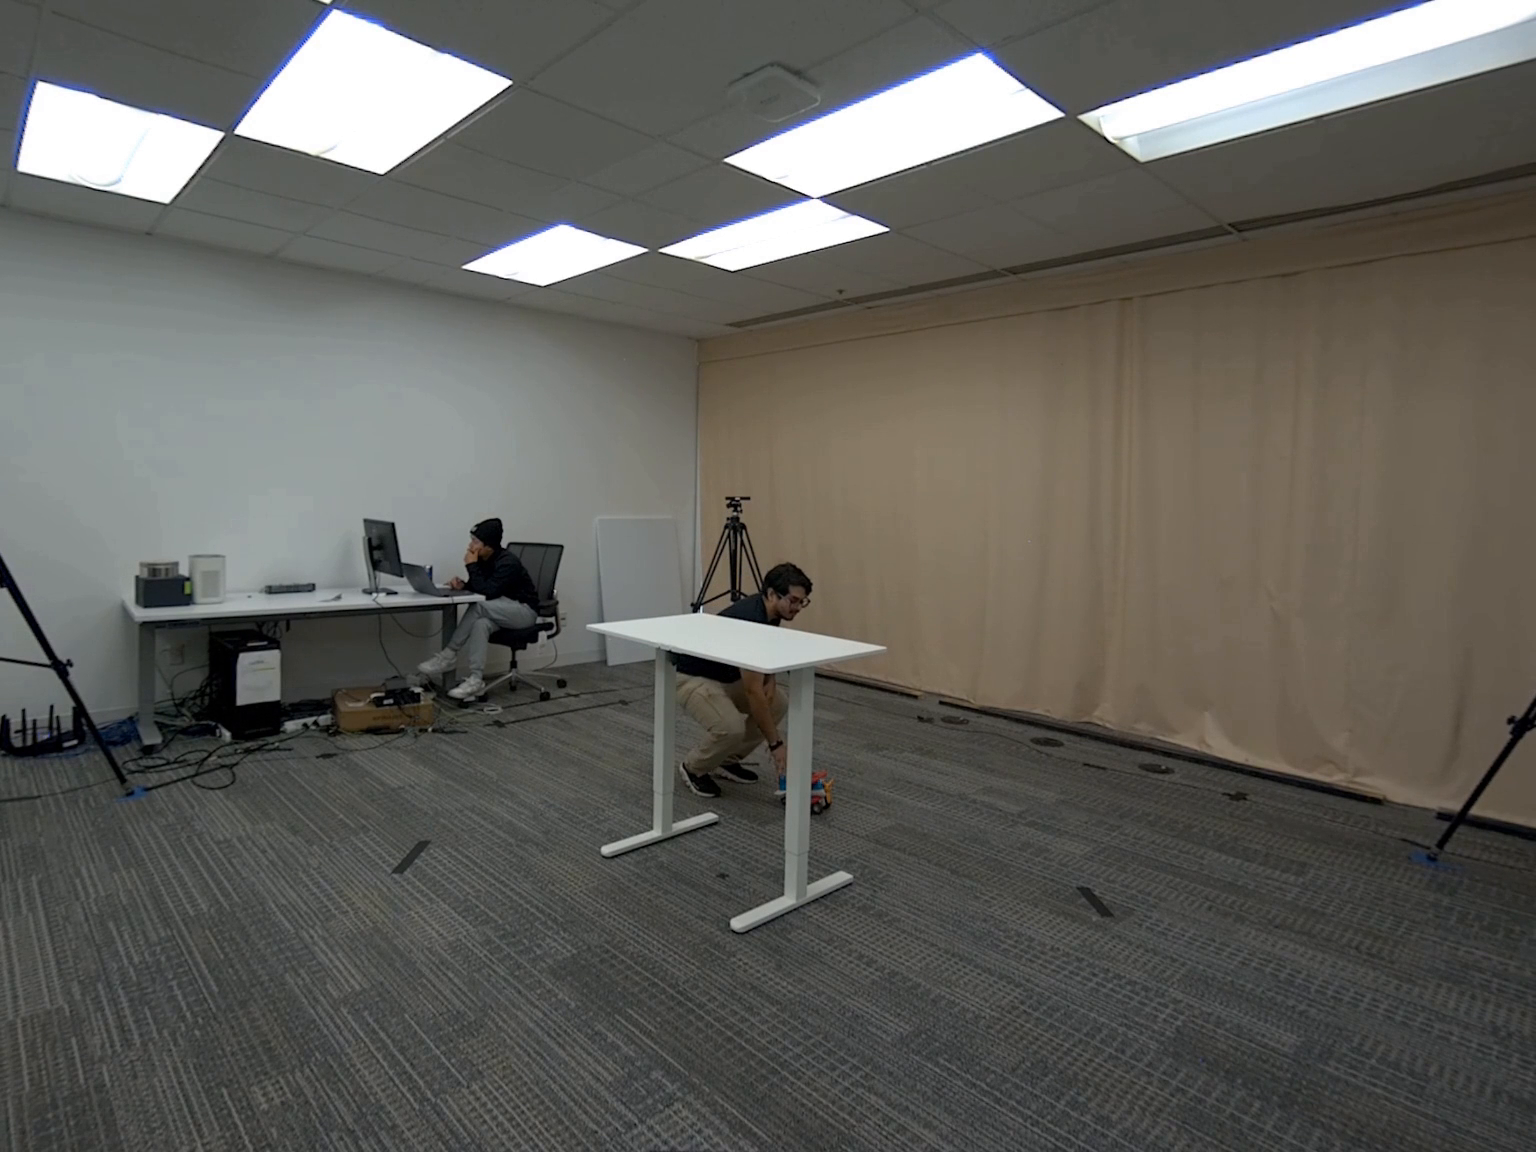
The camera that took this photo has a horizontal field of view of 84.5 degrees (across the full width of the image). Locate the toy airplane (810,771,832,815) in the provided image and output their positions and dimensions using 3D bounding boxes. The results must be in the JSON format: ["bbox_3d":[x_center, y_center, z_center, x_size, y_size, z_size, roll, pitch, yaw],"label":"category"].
[{"bbox_3d":[0.151,0.976,3.807,0.260,0.156,0.251,3,4,1],"label":"toy airplane"}]
